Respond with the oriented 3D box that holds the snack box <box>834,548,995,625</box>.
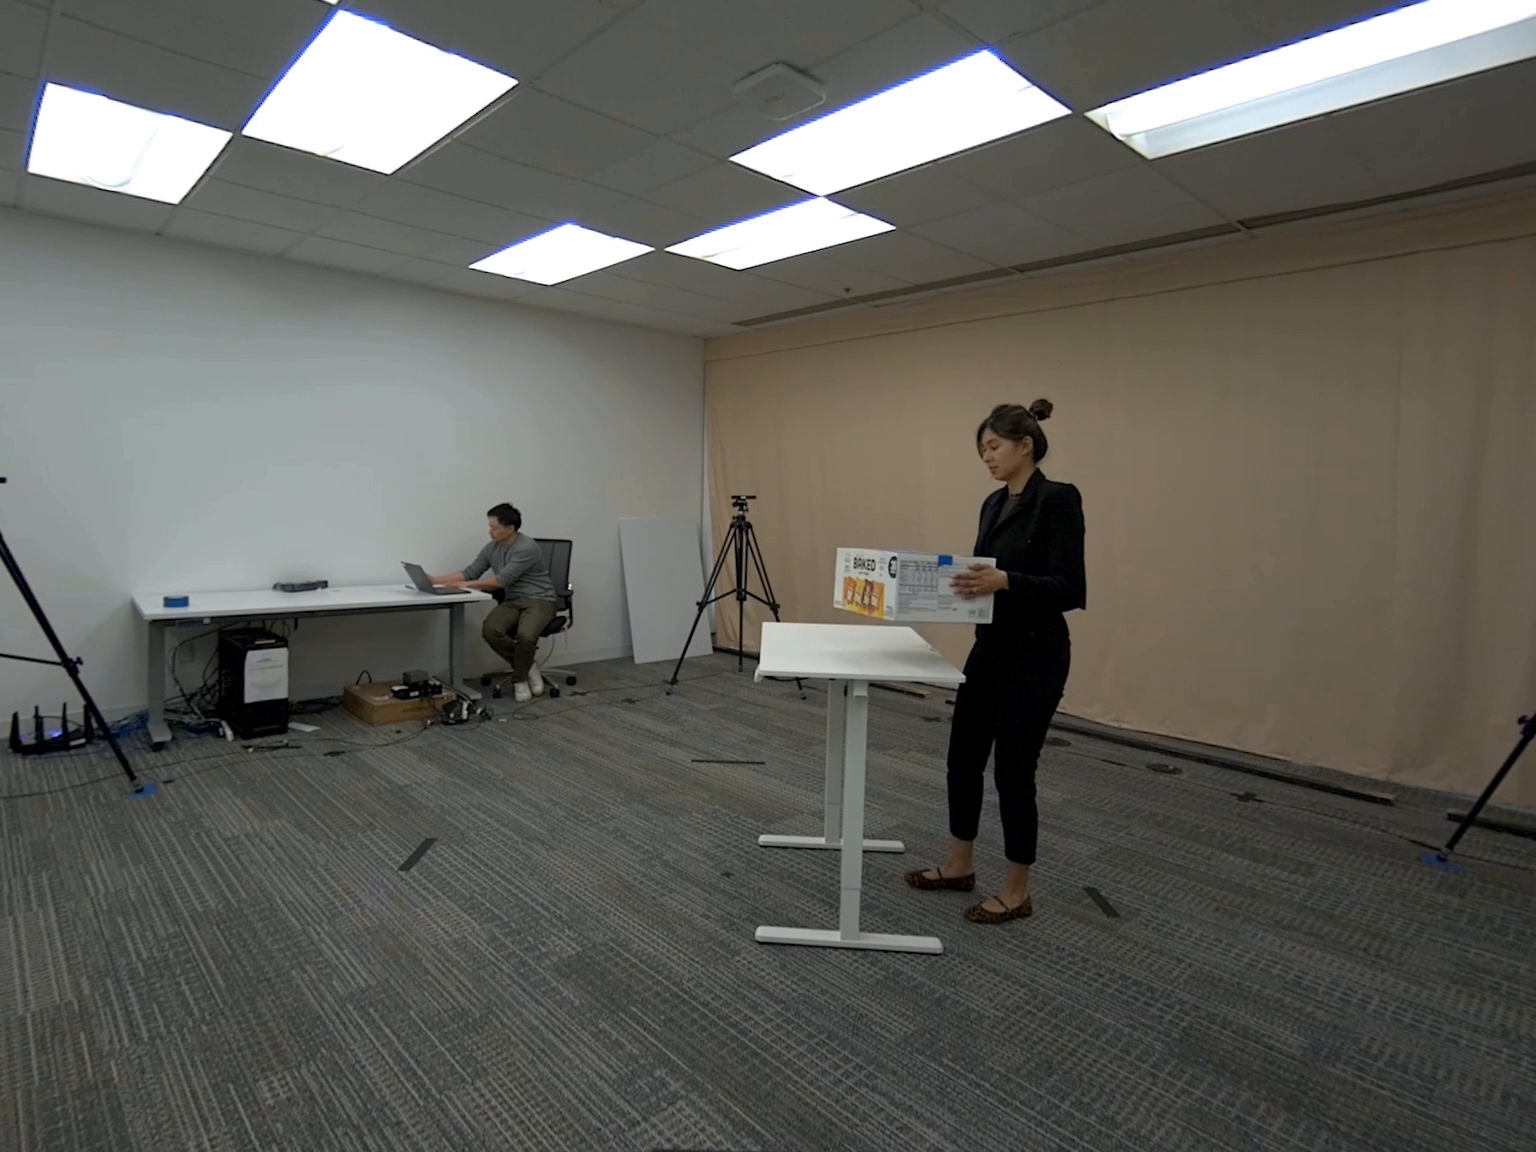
[{"bbox_3d":[0.446,0.027,2.704,0.335,0.205,0.412,3,3,-19],"label":"snack box"}]
